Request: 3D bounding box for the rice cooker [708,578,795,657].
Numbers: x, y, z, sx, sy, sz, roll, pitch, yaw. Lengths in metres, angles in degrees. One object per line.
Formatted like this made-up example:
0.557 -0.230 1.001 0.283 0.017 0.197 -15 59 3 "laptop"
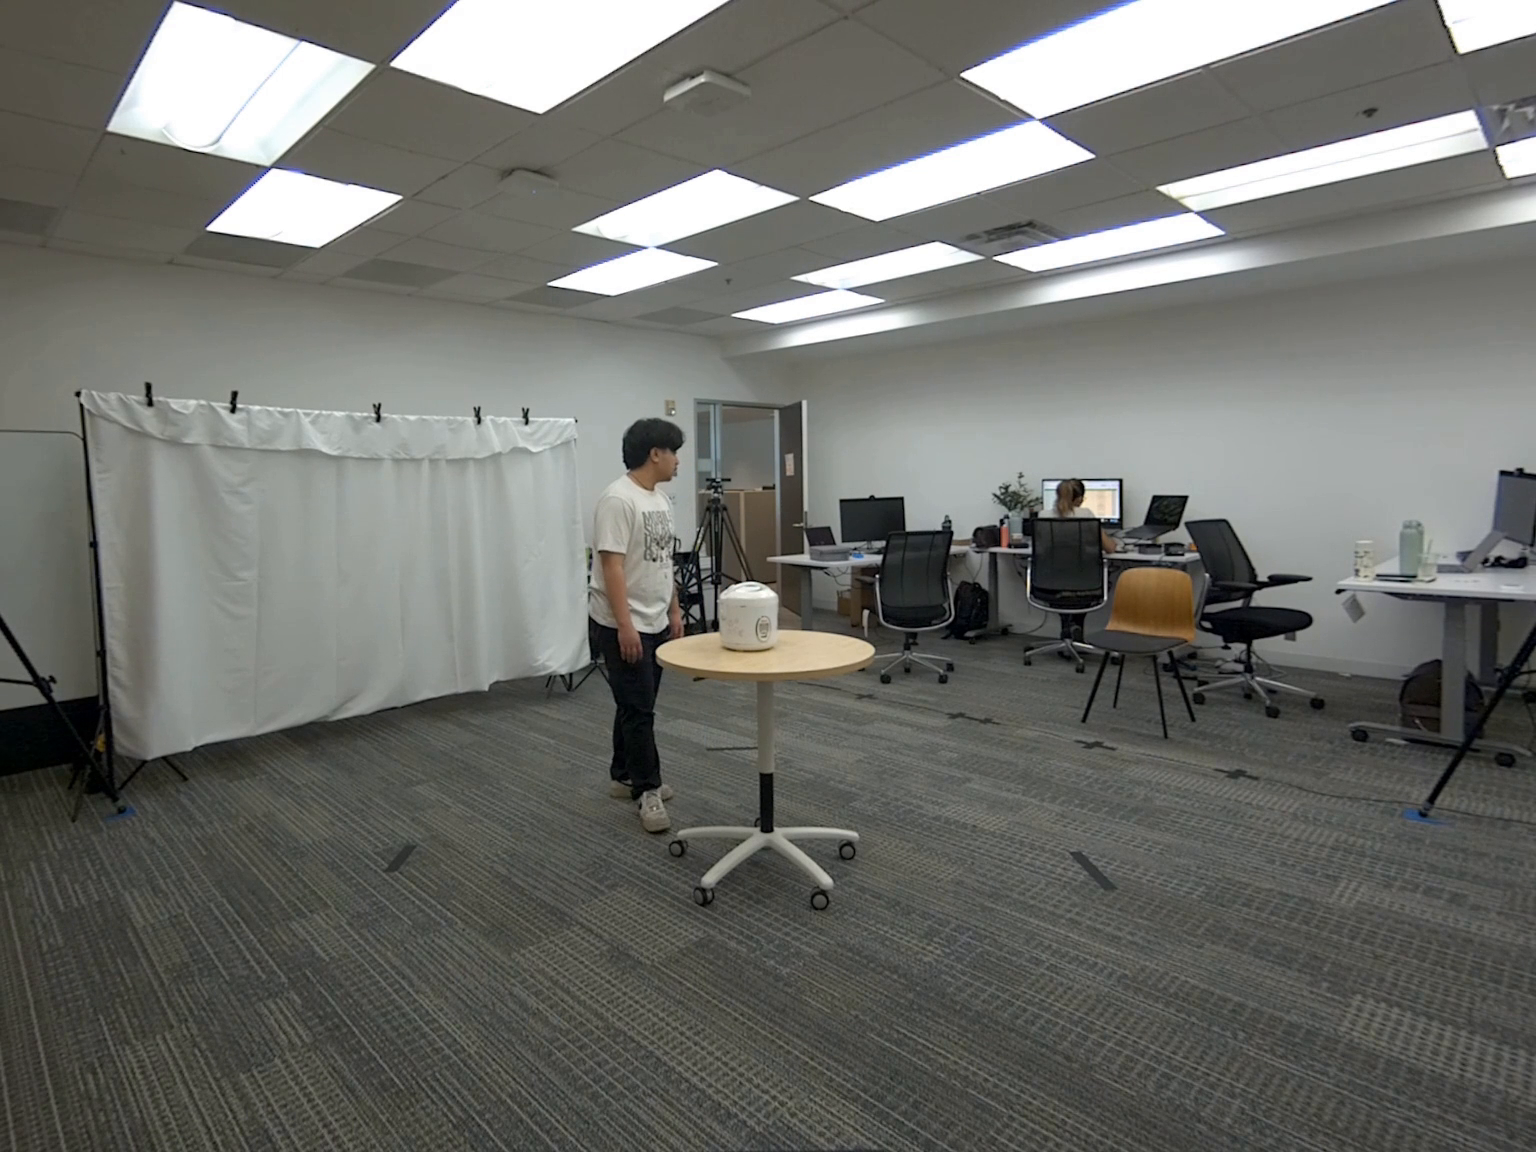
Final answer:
-0.061 0.137 3.026 0.215 0.232 0.223 -3 5 -30 "rice cooker"
